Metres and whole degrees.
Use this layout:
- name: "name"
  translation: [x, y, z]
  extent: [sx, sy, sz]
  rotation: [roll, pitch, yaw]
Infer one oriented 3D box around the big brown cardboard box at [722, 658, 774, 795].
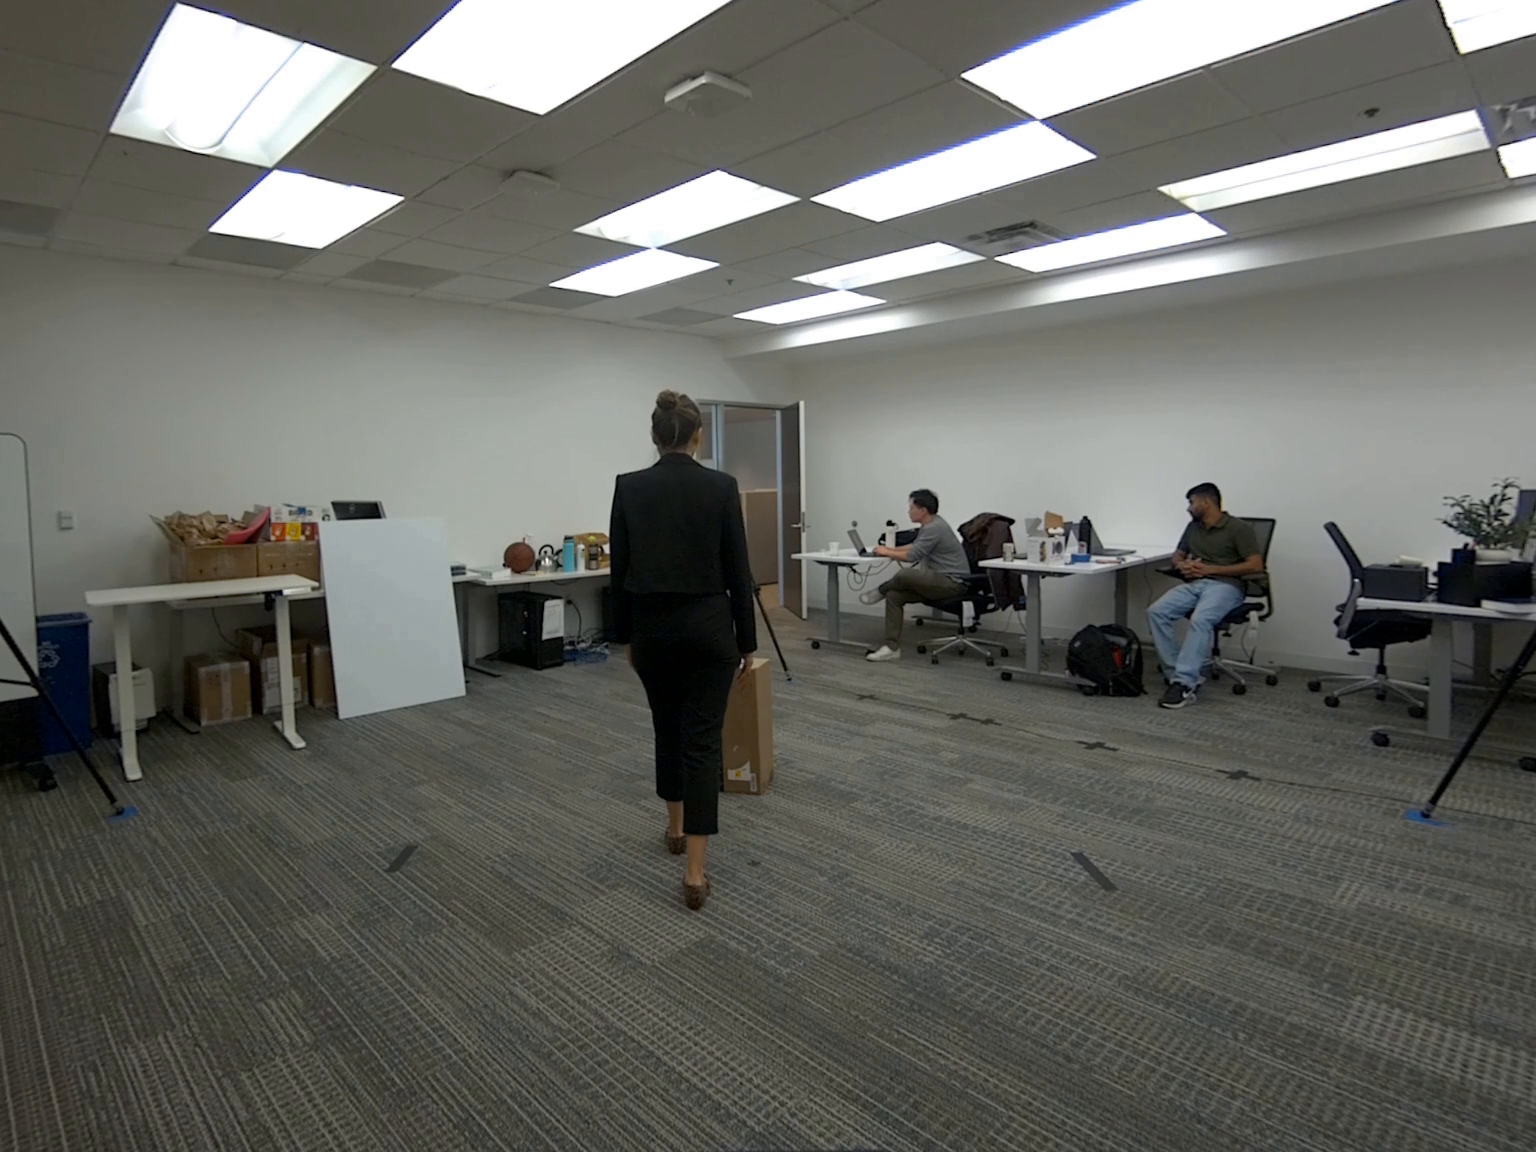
- name: "big brown cardboard box"
  translation: [-0.211, 0.678, 3.930]
  extent: [0.425, 0.588, 0.229]
  rotation: [-1, 2, 19]
